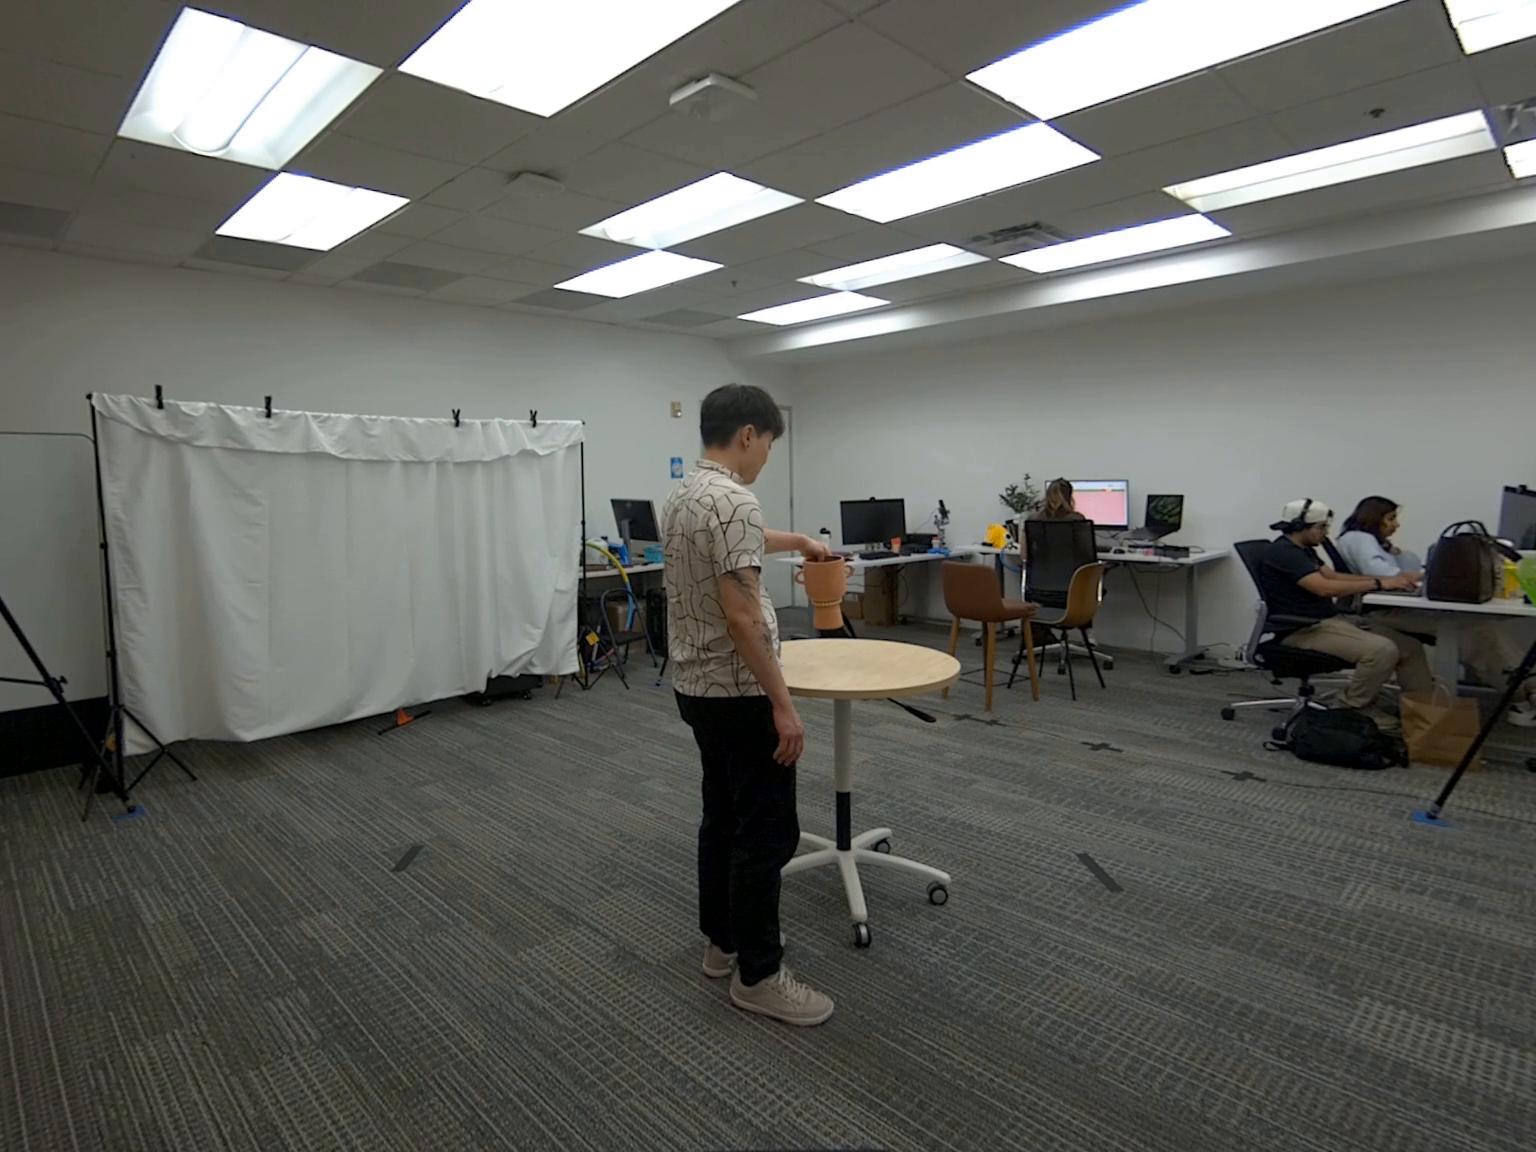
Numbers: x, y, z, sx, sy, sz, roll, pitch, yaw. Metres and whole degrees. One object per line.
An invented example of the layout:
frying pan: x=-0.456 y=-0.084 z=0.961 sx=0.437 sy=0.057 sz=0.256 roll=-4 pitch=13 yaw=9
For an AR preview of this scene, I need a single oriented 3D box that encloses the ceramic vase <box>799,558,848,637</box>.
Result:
ceramic vase: x=0.193 y=0.053 z=2.752 sx=0.163 sy=0.218 sz=0.132 roll=0 pitch=7 yaw=29
